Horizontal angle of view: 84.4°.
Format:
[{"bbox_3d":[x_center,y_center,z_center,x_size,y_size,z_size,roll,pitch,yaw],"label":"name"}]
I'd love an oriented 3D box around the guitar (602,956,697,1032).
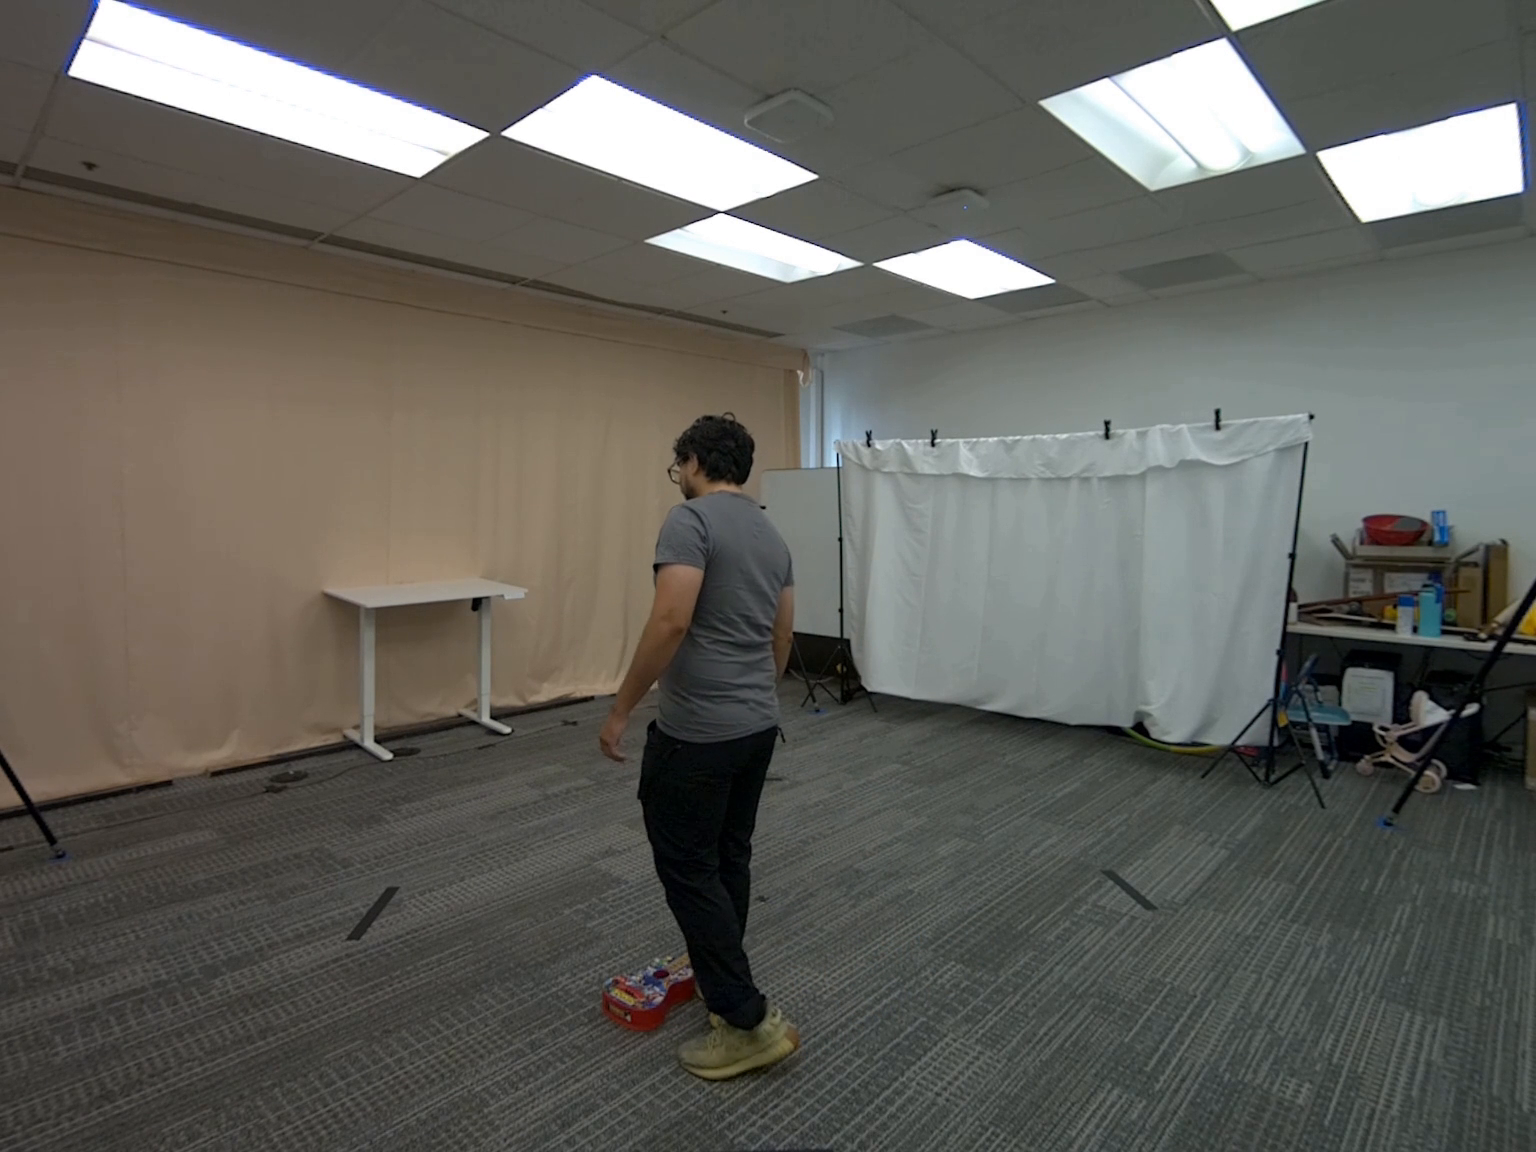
[{"bbox_3d":[-0.240,1.161,2.428,0.483,0.070,0.199,-5,6,-42],"label":"guitar"}]
